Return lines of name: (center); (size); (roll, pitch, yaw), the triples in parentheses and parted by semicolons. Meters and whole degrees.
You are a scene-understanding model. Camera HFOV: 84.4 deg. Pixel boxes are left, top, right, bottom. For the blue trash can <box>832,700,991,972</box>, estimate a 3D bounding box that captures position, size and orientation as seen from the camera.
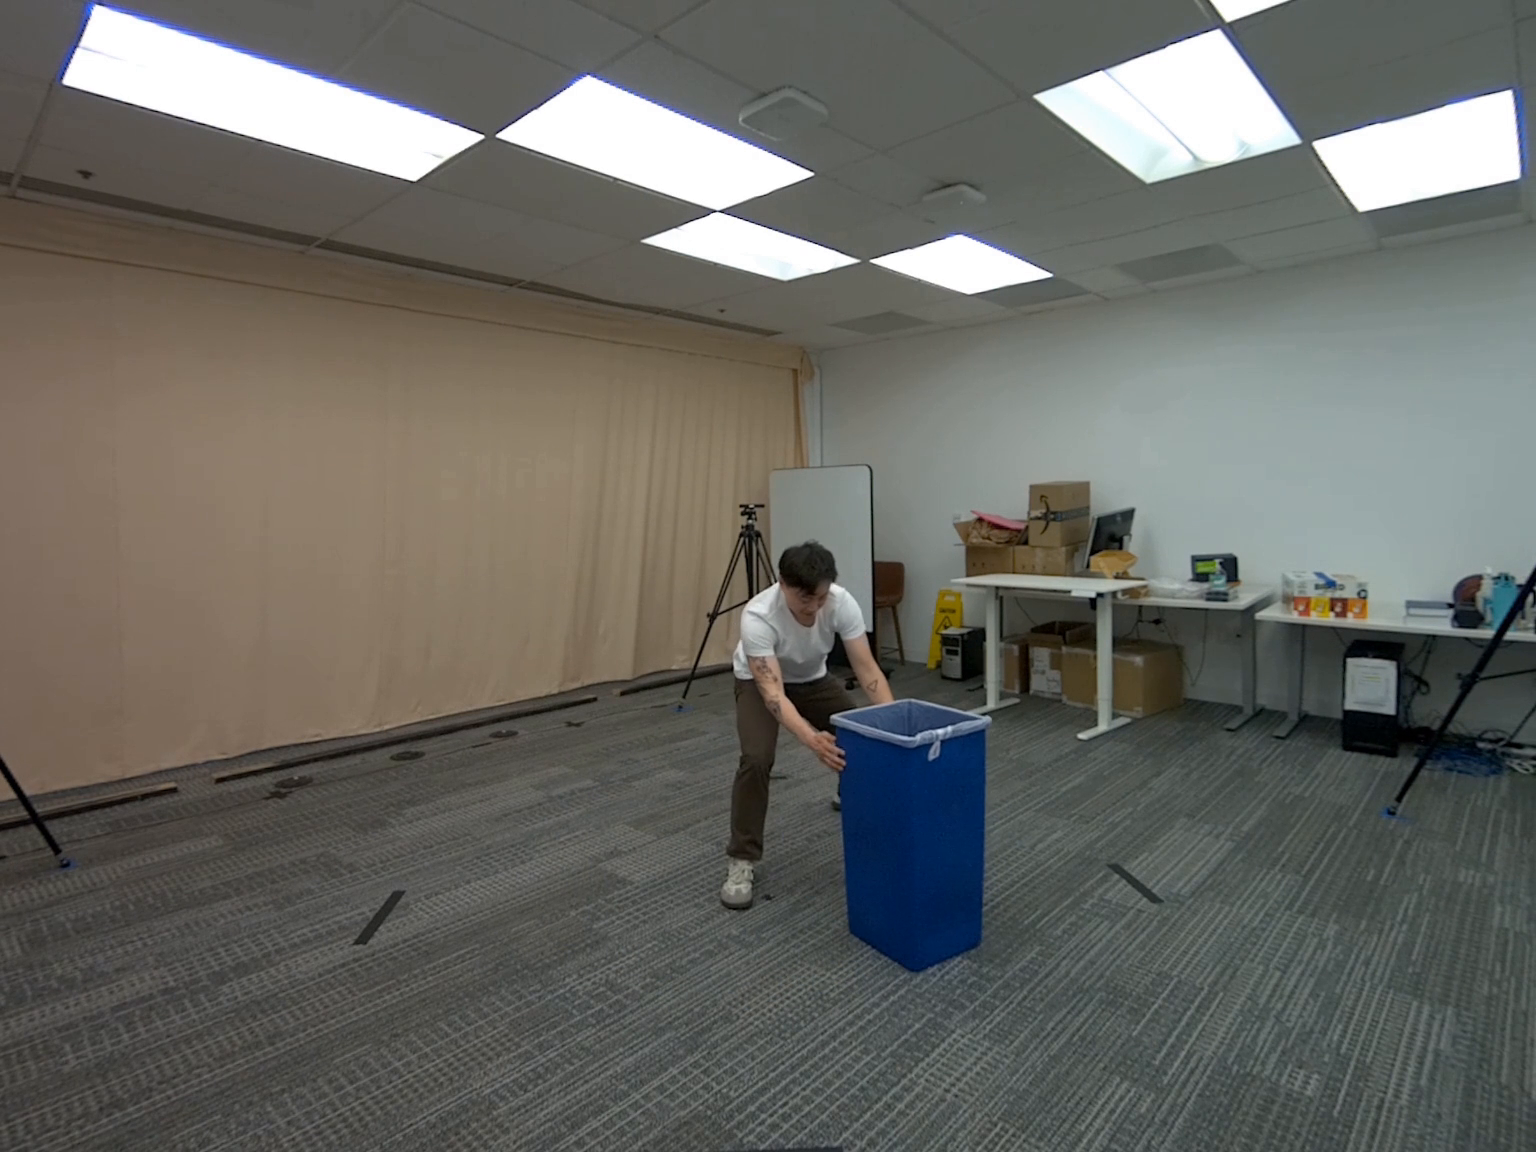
blue trash can: (0.467, 0.796, 2.678); (0.363, 0.712, 0.389); (-4, 3, -35)
